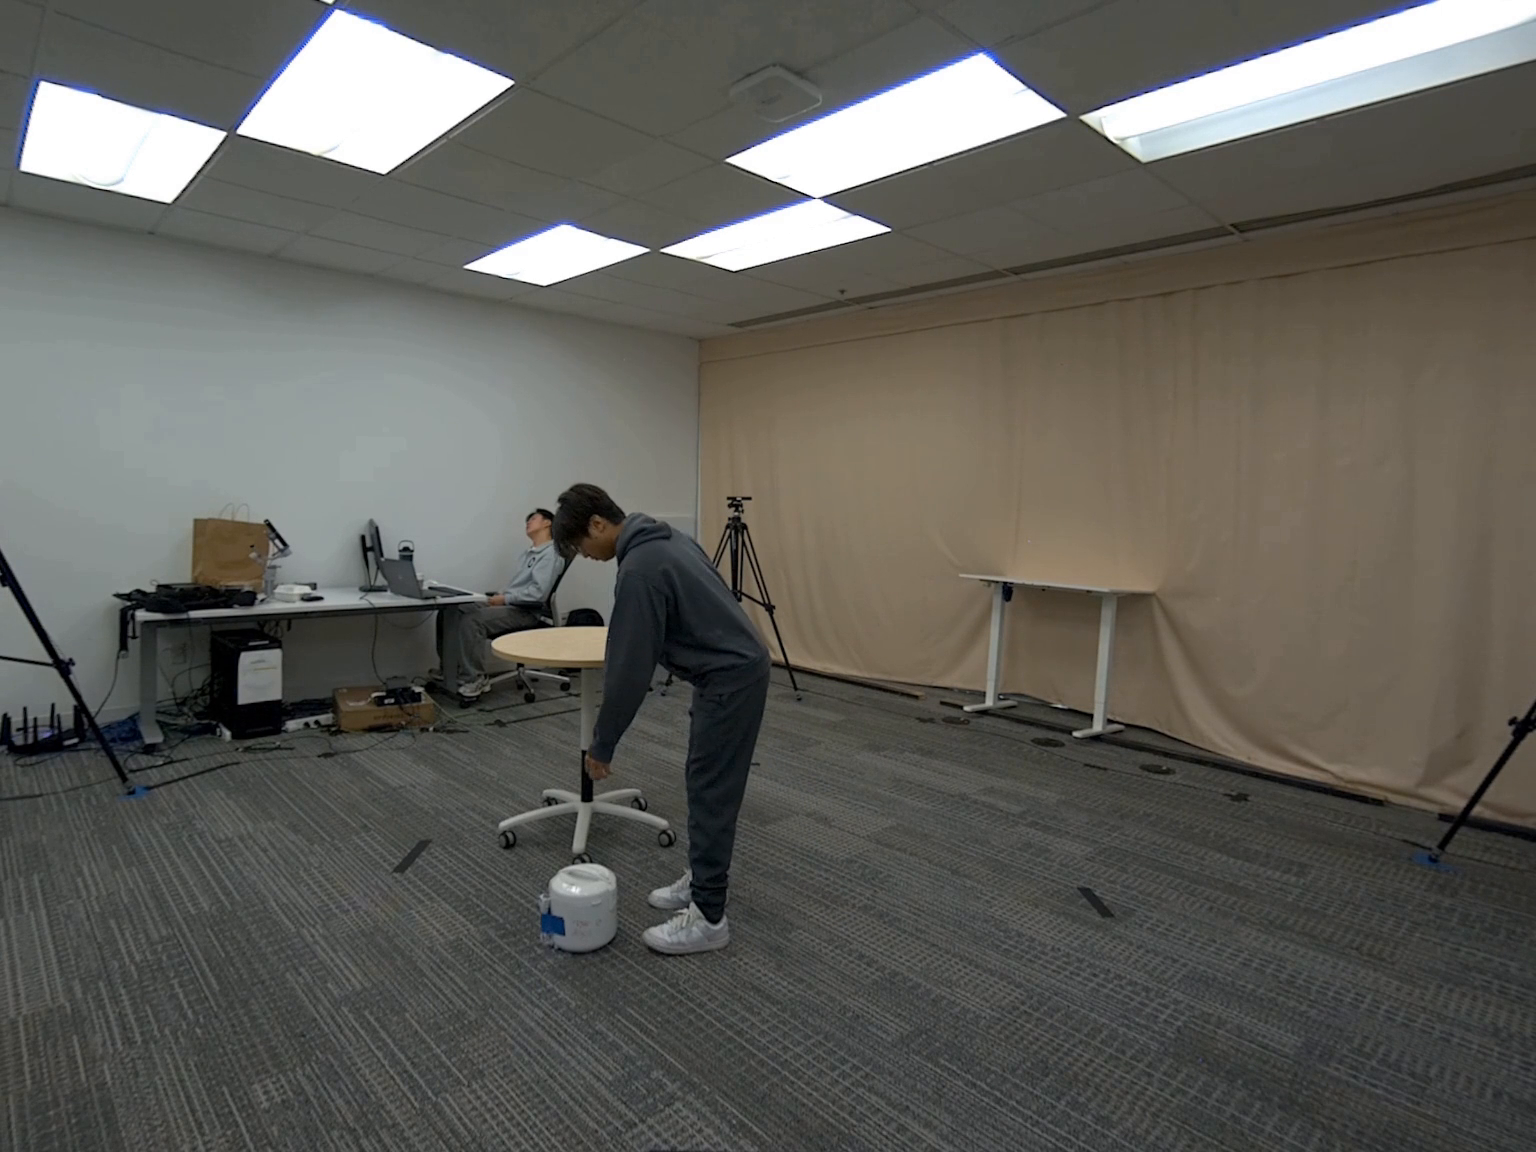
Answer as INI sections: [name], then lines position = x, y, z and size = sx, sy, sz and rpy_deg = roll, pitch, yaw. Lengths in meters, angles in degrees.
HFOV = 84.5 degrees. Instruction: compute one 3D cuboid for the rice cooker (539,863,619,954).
[rice cooker]
position = -0.577, 1.017, 2.636
size = 0.224, 0.232, 0.214
rpy_deg = 2, 4, 19
